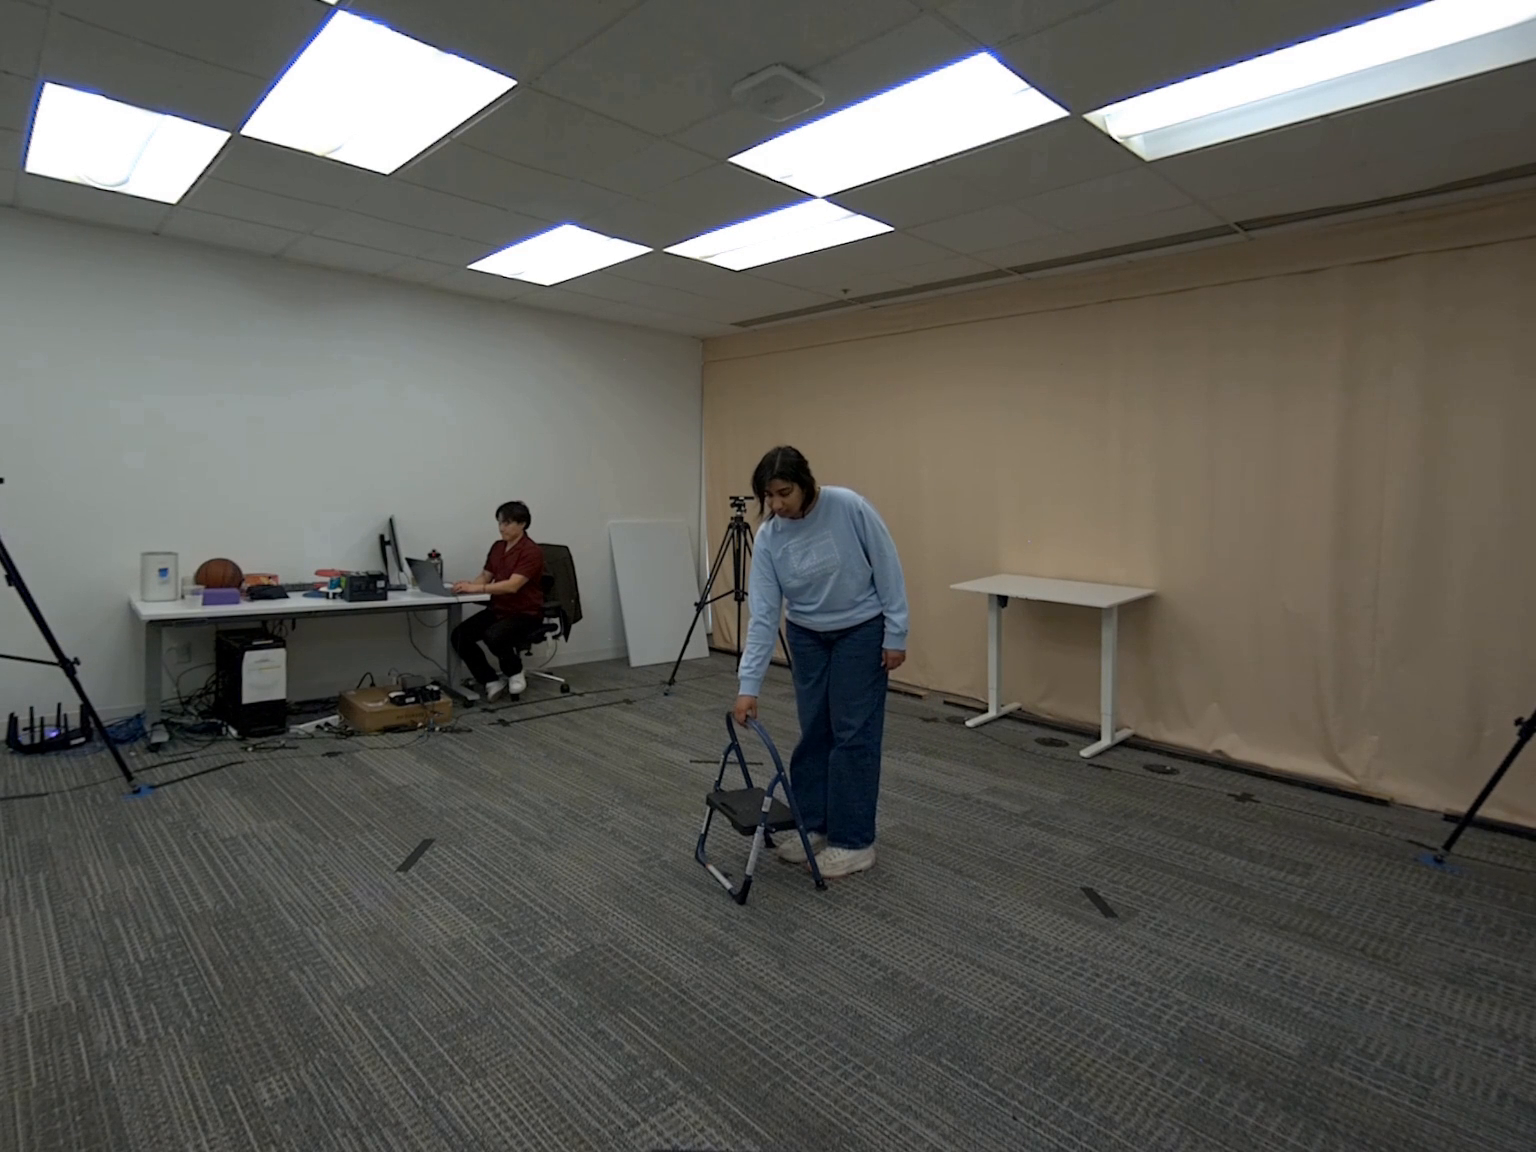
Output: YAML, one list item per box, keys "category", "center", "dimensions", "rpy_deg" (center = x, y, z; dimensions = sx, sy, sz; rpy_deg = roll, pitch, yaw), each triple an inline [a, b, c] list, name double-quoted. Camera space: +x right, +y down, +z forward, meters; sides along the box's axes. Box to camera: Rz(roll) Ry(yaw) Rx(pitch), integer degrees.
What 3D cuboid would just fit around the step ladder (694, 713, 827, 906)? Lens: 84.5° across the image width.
- category: "step ladder"
  center: [-0.037, 0.801, 3.116]
  dimensions: [0.342, 0.605, 0.439]
  rpy_deg: [1, 3, -27]
